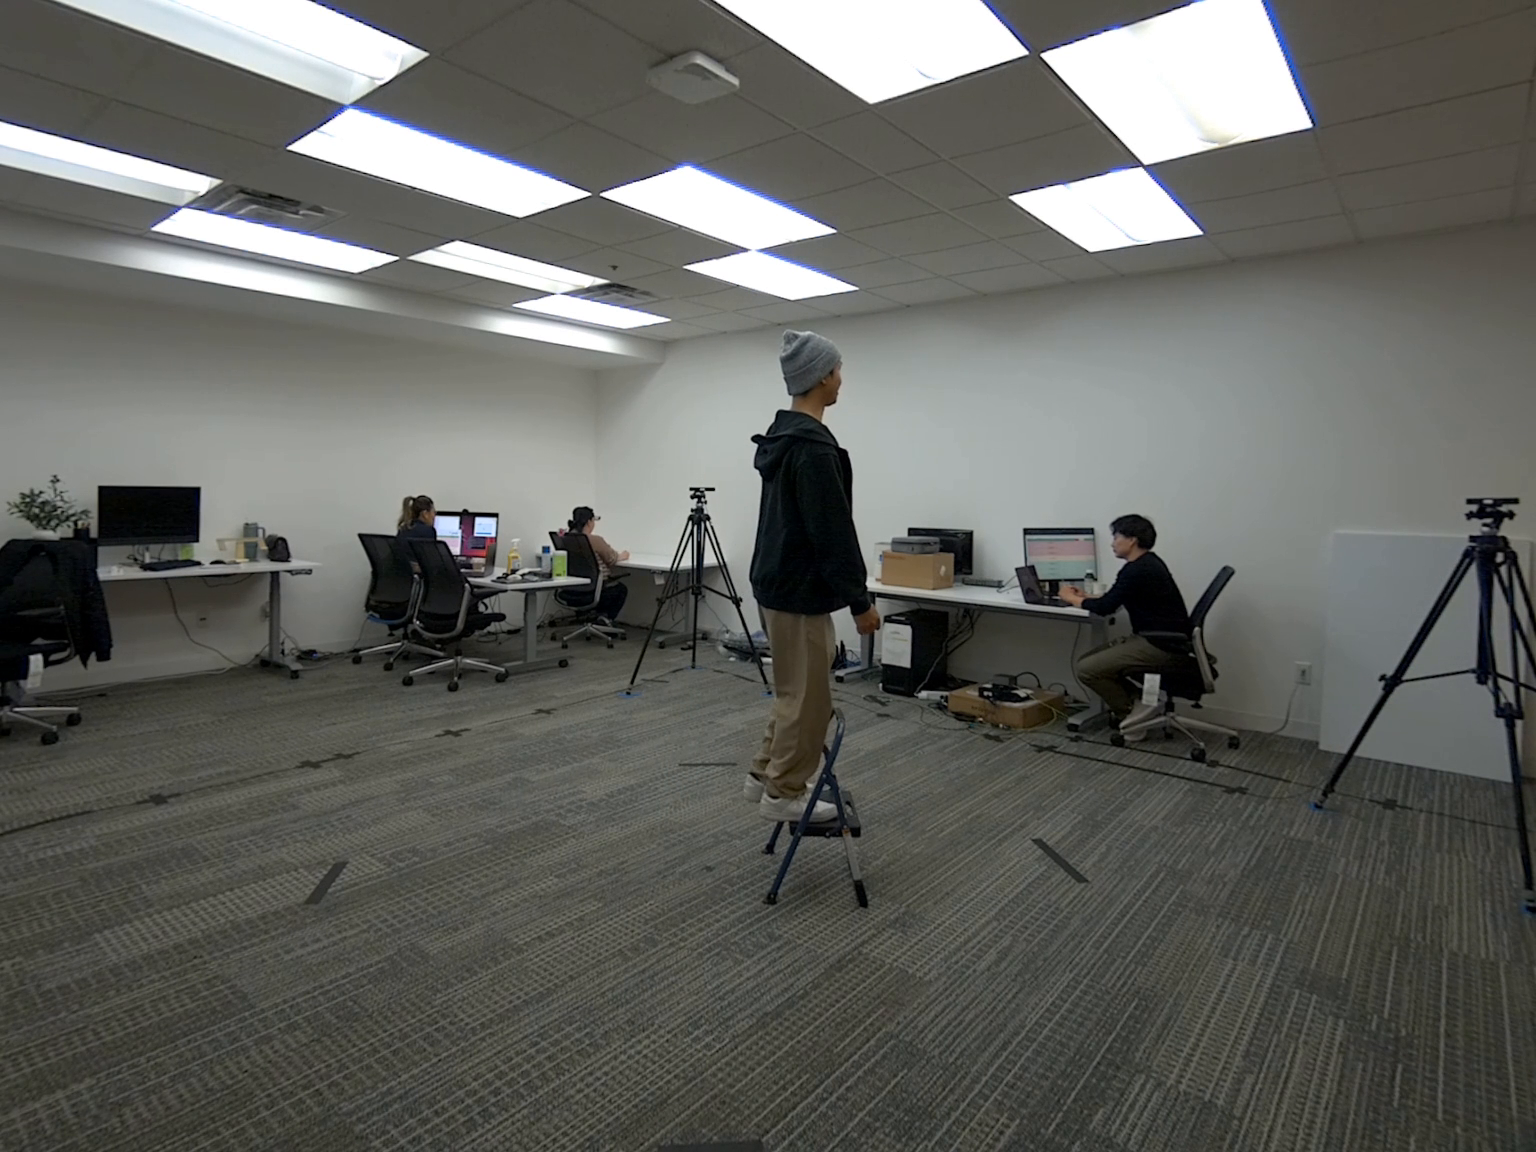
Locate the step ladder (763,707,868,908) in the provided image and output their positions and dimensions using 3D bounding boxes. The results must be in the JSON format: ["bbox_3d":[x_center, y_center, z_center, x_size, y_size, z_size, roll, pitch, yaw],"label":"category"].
[{"bbox_3d":[0.161,0.785,3.039,0.350,0.604,0.432,0,3,0],"label":"step ladder"}]
